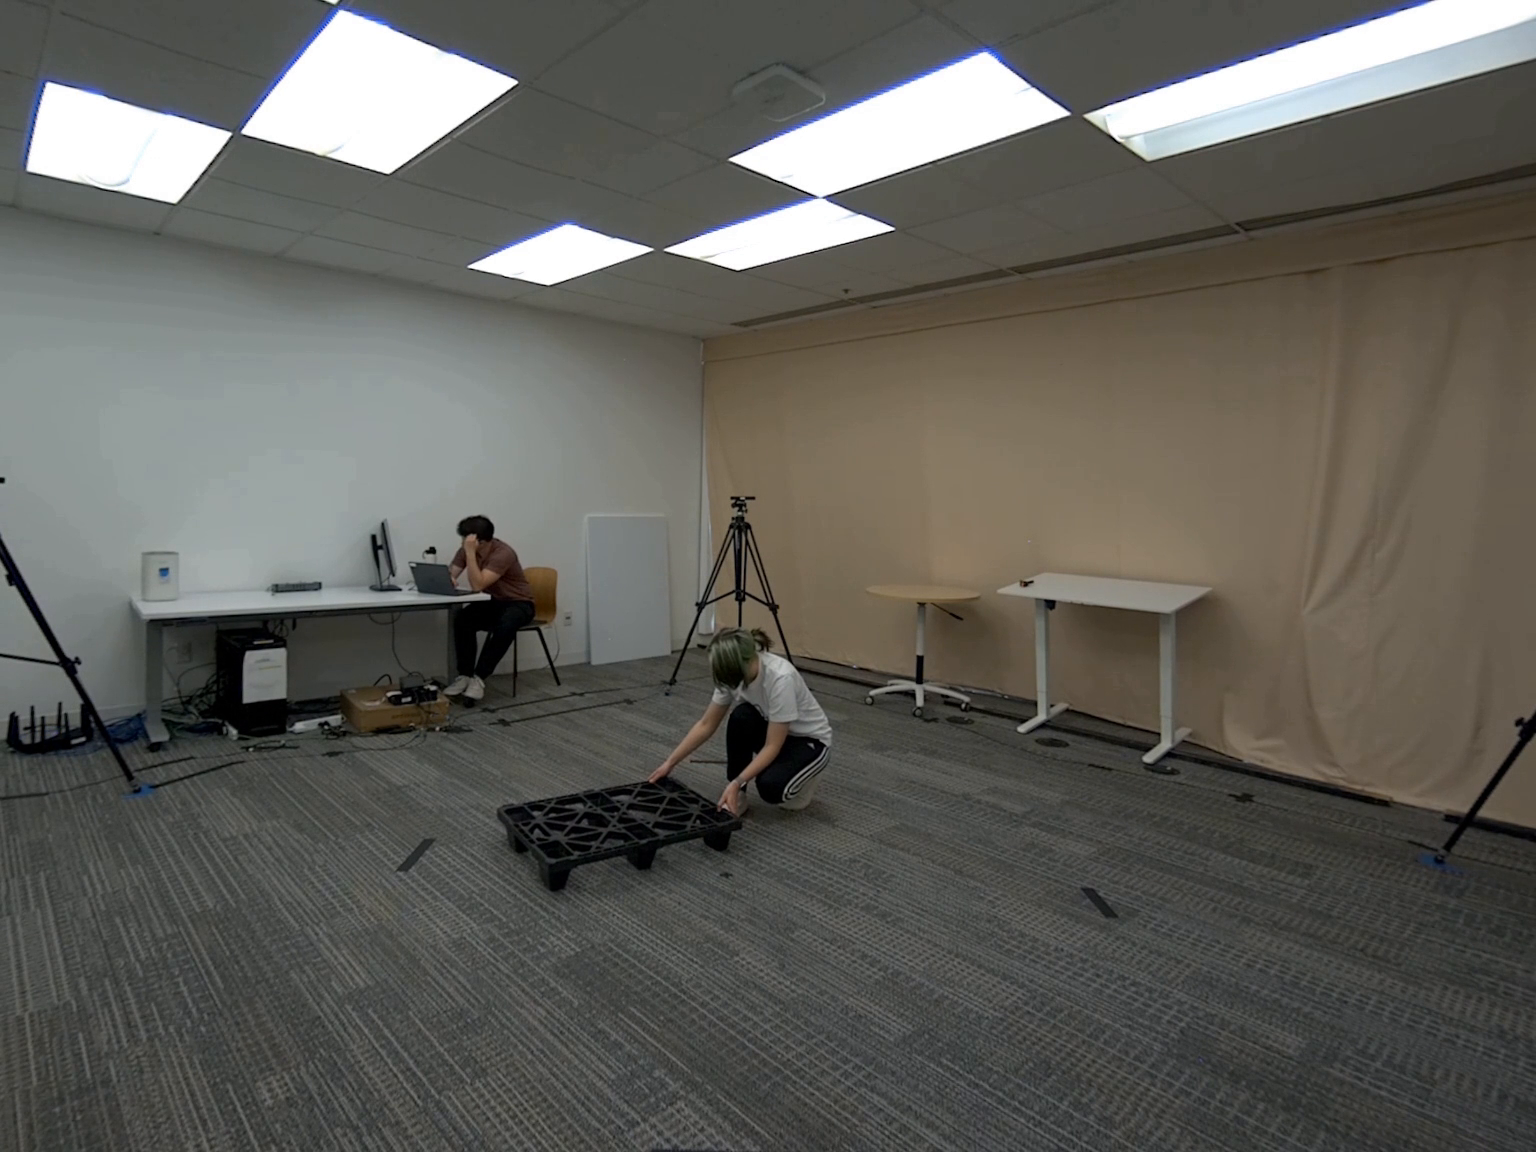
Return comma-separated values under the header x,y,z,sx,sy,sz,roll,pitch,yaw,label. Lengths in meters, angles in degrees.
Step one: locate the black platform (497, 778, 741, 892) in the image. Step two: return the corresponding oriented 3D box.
x,y,z,sx,sy,sz,roll,pitch,yaw,label
-0.599,1.009,3.328,0.788,0.143,0.620,-2,7,-34,black platform
